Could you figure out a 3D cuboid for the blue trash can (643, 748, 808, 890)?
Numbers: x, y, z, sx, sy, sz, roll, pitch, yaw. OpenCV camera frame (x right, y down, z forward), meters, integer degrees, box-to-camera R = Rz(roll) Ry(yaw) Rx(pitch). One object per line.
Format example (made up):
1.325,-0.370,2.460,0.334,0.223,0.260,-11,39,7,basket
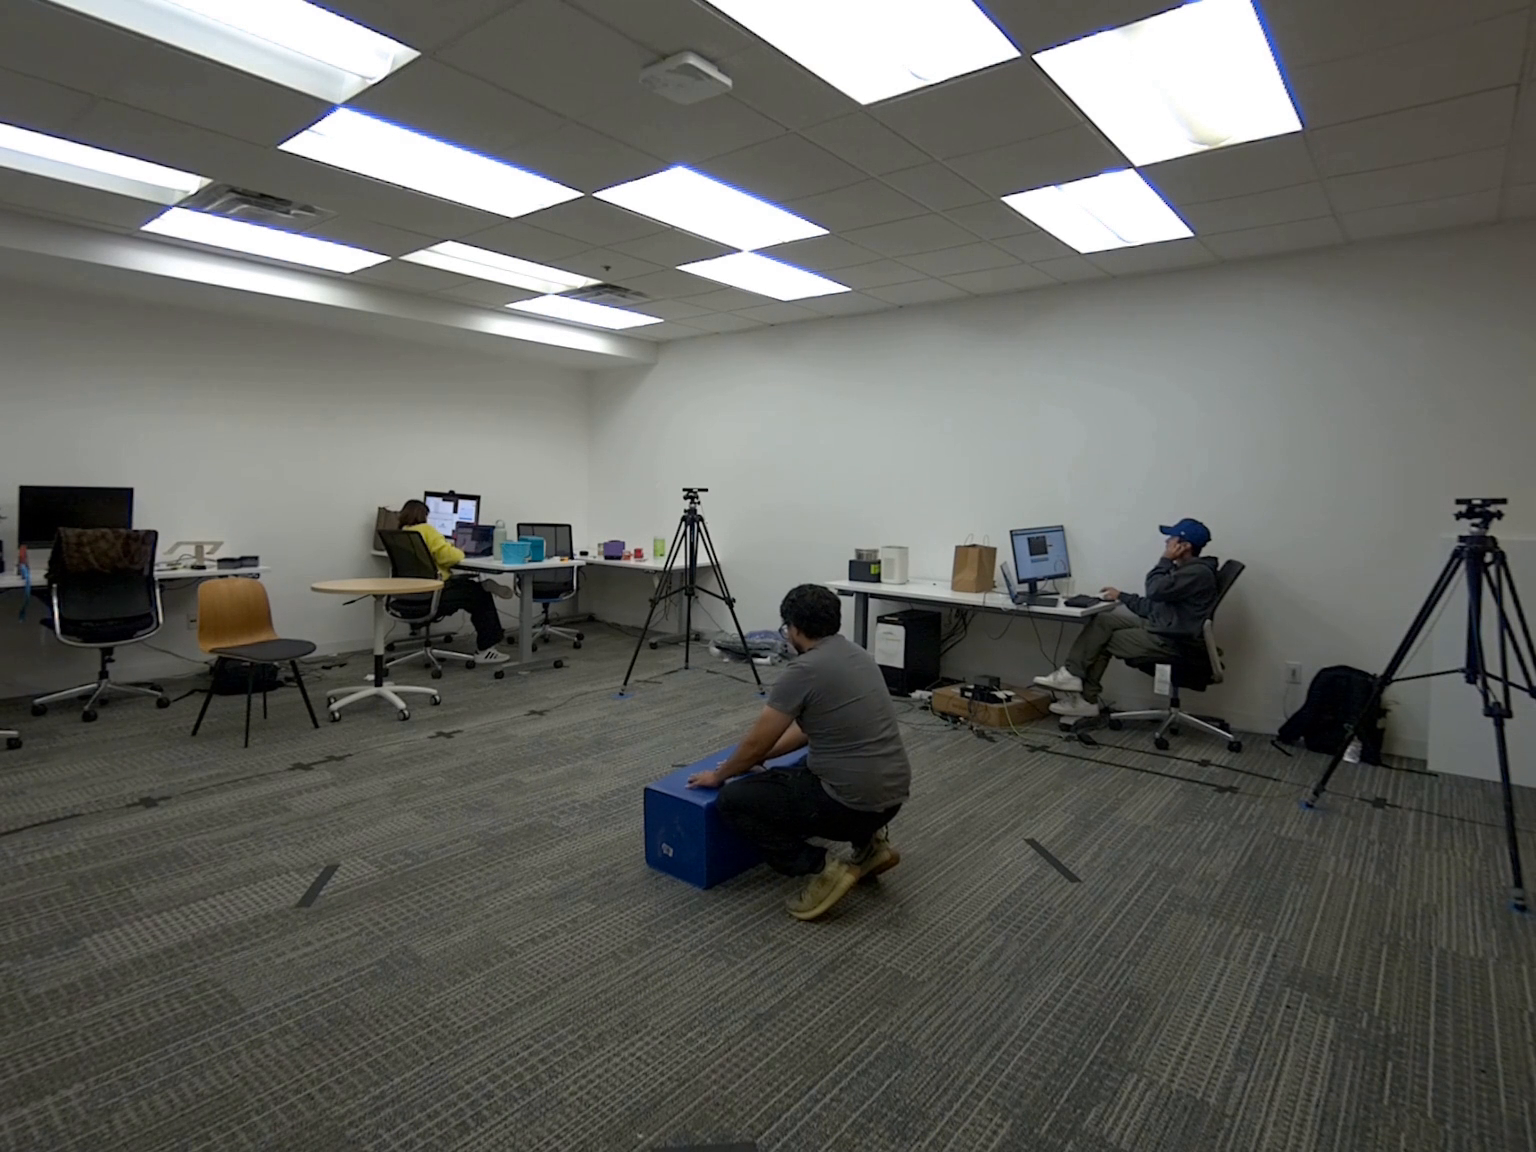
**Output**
-0.136,0.881,3.293,0.387,0.376,0.694,5,8,39,blue trash can
